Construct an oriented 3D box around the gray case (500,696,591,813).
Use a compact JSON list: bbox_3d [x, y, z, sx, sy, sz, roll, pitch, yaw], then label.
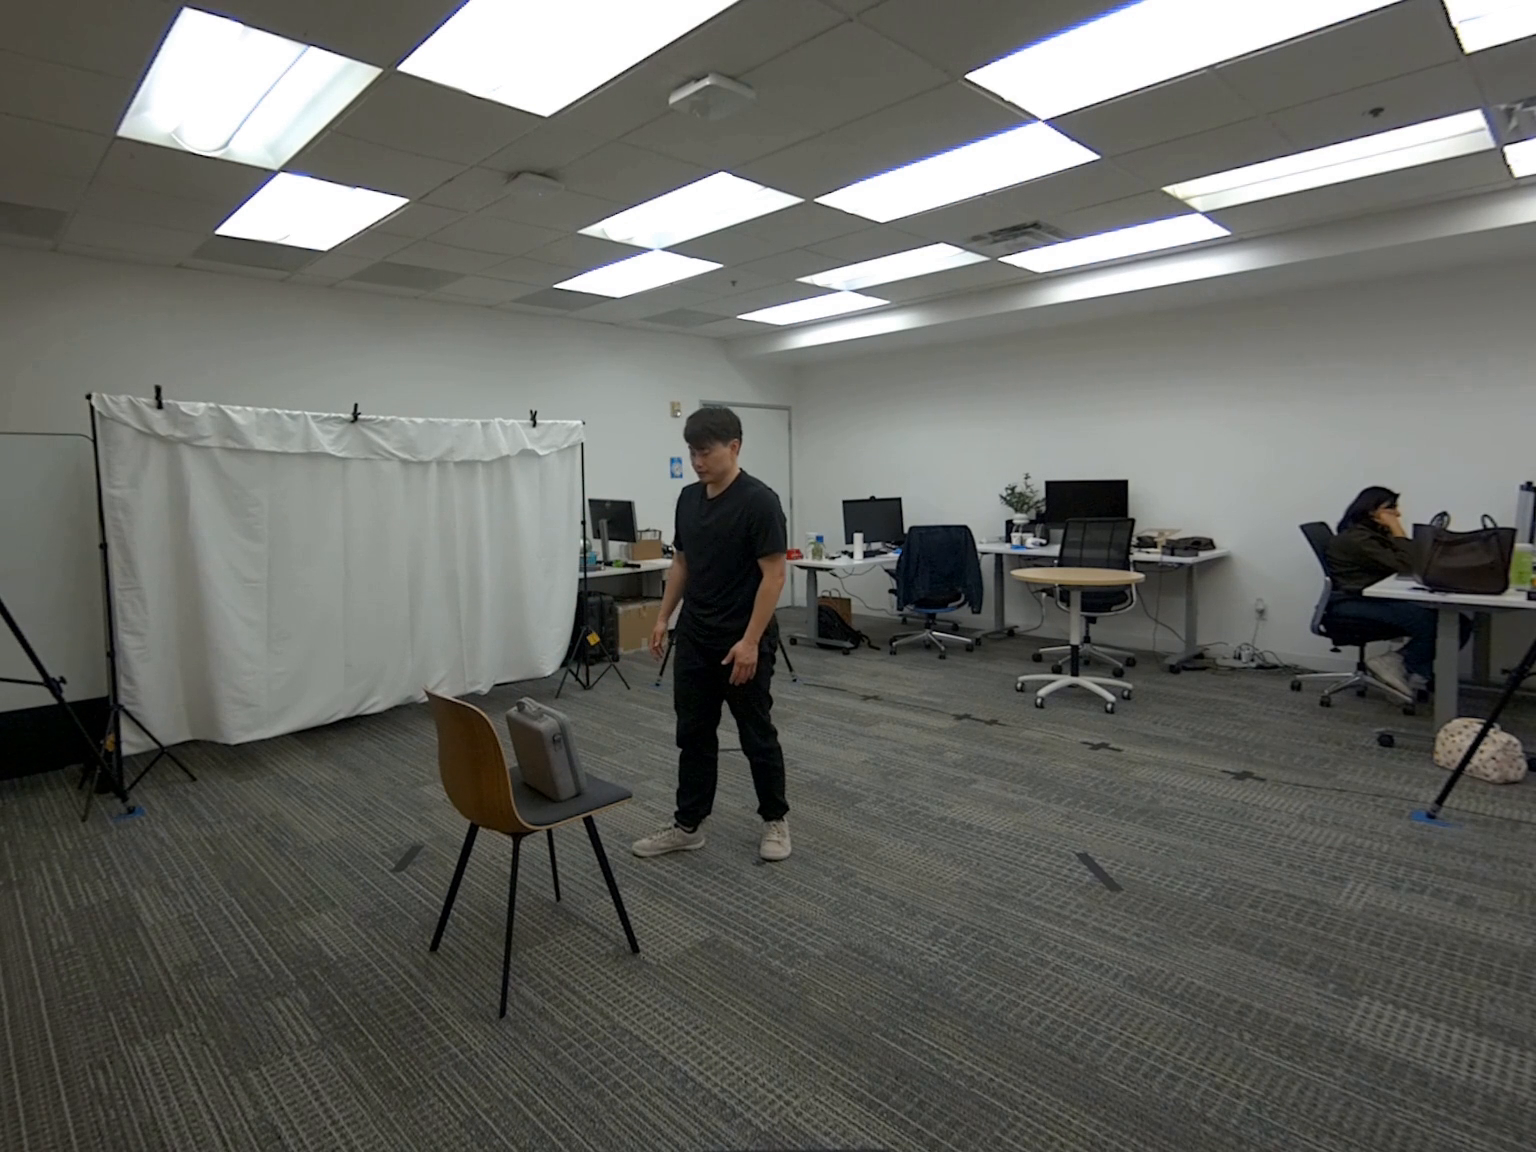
[{"bbox_3d":[-0.666,0.522,2.547,0.102,0.257,0.265,-21,16,-35],"label":"gray case"}]
